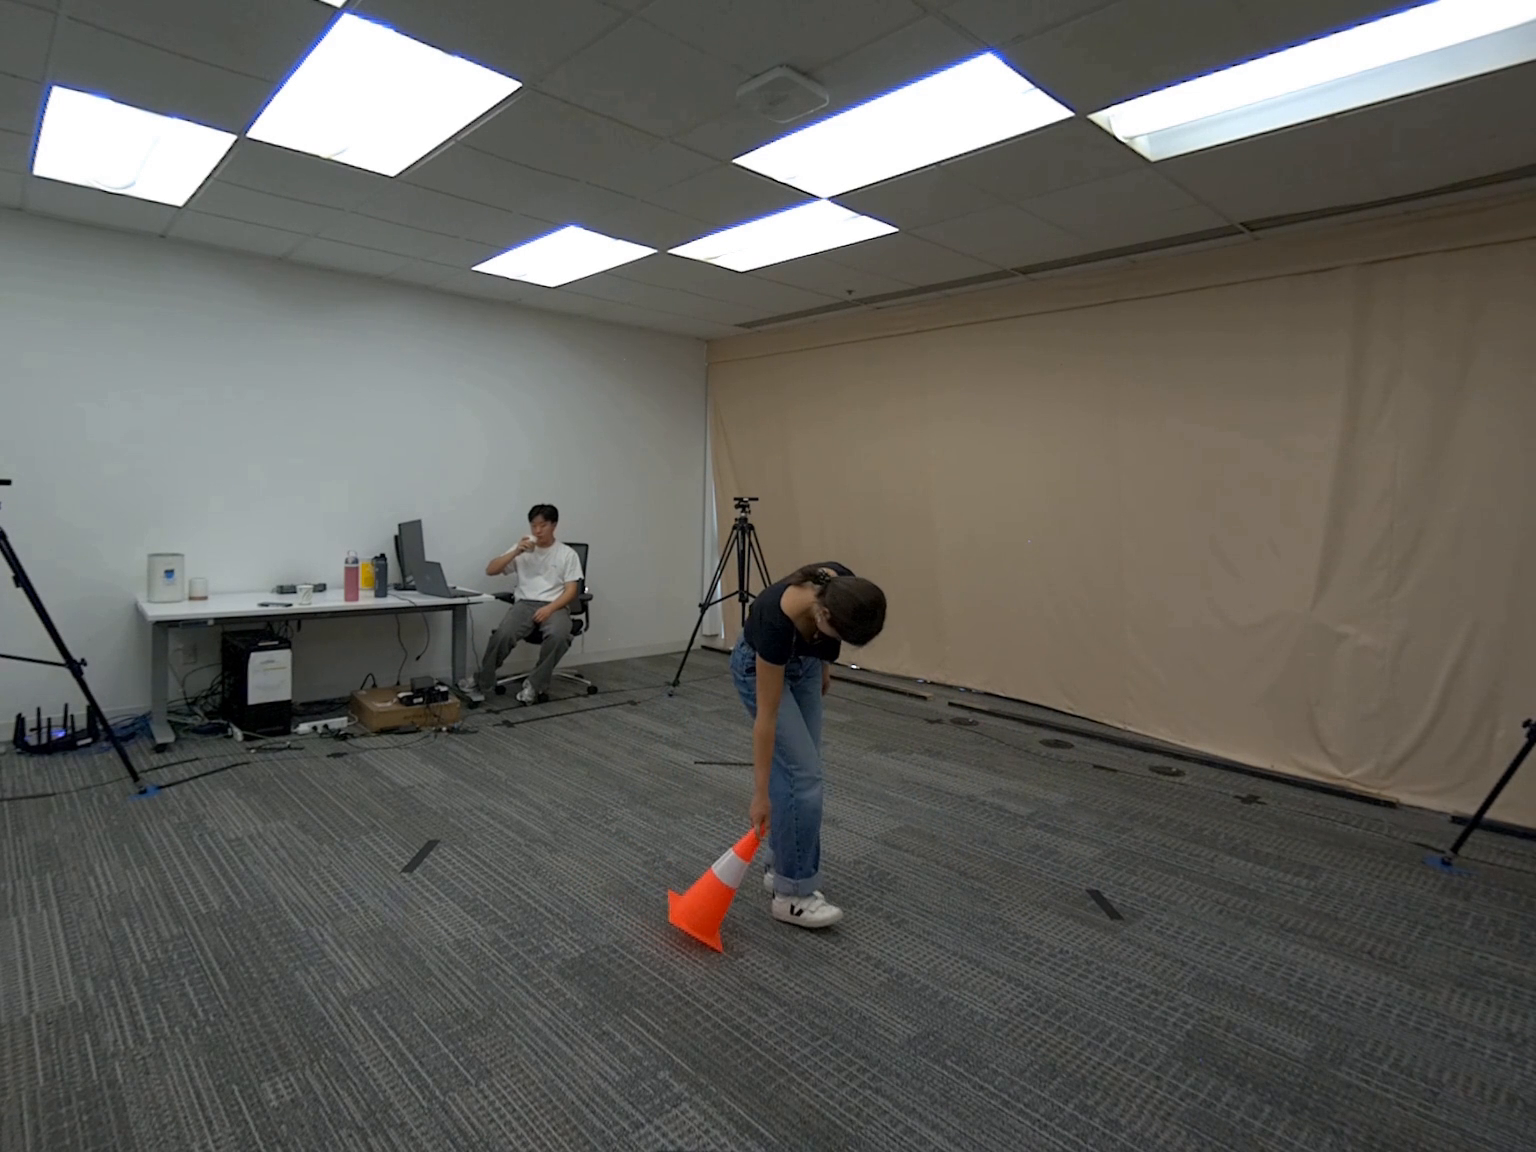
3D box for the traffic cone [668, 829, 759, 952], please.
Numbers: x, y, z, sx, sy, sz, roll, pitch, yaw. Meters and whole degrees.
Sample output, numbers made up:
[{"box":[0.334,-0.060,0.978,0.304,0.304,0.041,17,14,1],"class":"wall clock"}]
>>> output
[{"box":[-0.137,0.942,2.651,0.203,0.383,0.205,33,3,-8],"class":"traffic cone"}]
